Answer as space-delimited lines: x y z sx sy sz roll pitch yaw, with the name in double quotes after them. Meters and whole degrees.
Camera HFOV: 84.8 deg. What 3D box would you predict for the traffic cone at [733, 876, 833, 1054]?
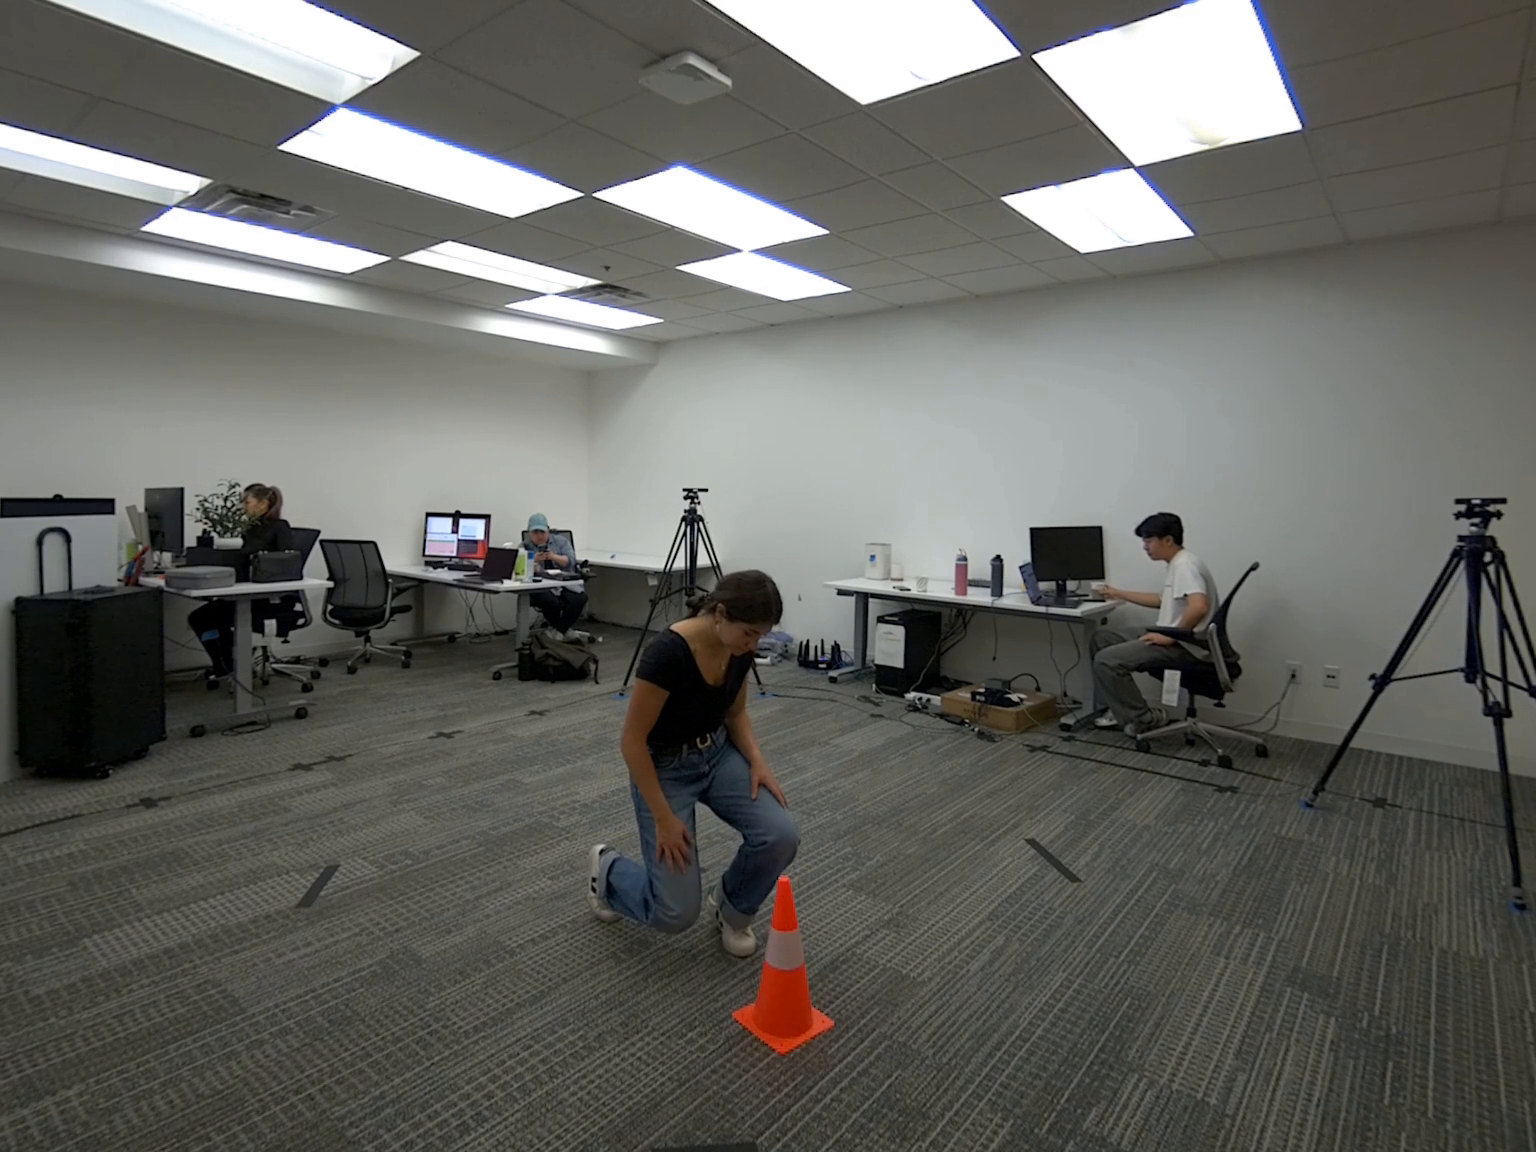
0.044 0.973 2.226 0.199 0.382 0.210 -2 5 -34 "traffic cone"
